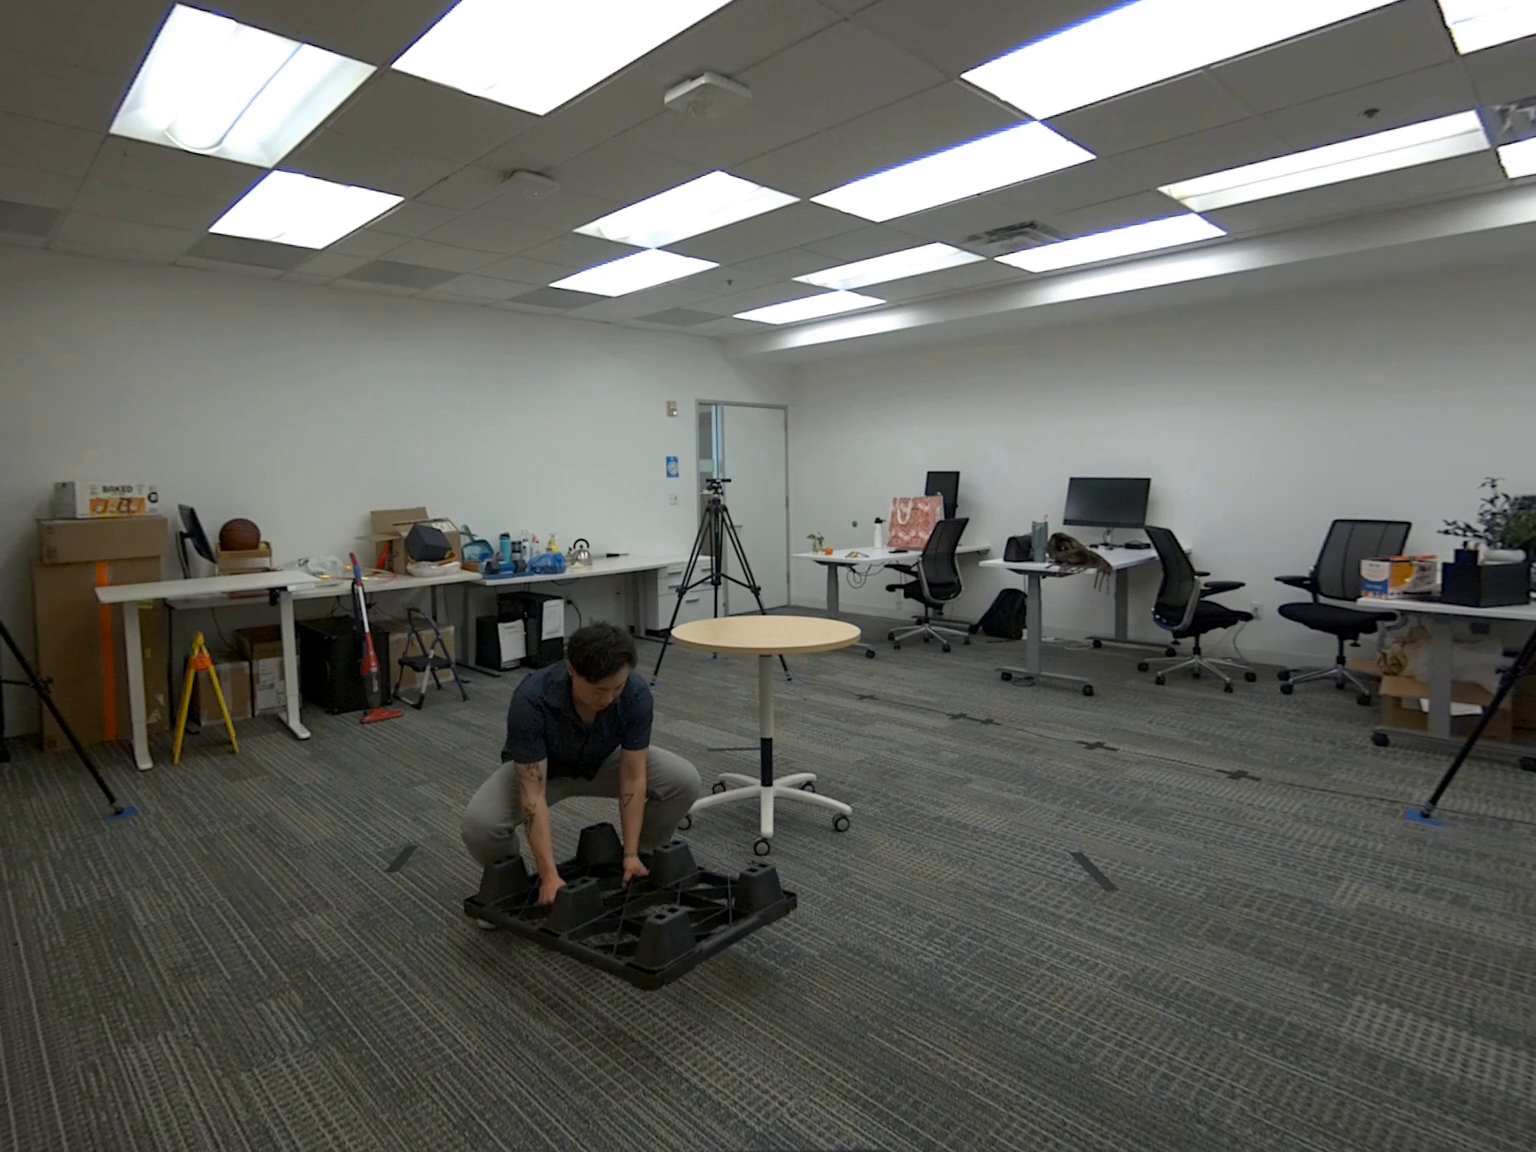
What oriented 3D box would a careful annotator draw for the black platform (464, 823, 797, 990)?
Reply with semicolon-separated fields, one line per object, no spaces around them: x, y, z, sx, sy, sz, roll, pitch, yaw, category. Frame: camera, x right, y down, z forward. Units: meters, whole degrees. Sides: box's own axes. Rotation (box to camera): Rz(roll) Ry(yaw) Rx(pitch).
-0.413;0.909;2.474;0.827;0.143;0.588;-2;0;39;black platform
